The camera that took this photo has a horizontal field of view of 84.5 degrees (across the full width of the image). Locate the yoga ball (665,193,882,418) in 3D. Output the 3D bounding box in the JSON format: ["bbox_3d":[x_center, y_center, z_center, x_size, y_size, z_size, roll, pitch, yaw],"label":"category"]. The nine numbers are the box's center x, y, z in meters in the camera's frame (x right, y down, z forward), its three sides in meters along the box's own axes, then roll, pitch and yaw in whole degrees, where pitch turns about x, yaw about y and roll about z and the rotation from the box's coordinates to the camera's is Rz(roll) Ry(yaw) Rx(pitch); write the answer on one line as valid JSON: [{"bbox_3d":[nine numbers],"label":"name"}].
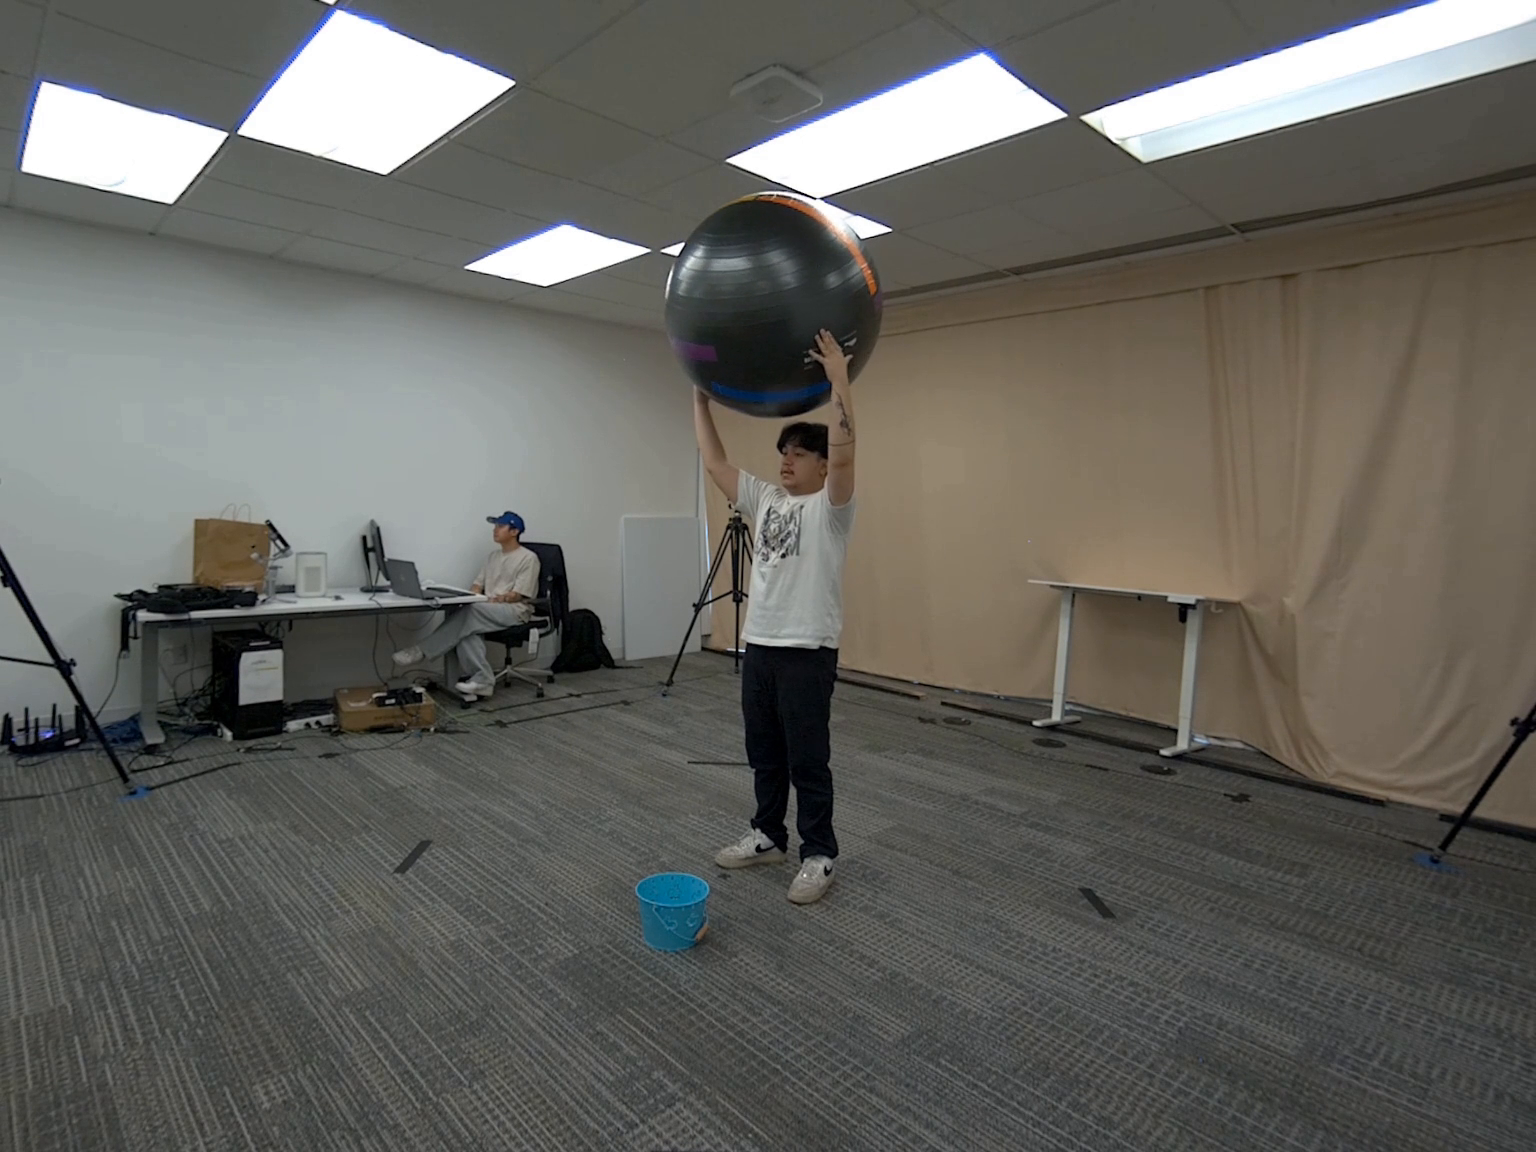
[{"bbox_3d":[0.014,-0.938,2.963,0.757,0.756,0.760,1,4,-1],"label":"yoga ball"}]
